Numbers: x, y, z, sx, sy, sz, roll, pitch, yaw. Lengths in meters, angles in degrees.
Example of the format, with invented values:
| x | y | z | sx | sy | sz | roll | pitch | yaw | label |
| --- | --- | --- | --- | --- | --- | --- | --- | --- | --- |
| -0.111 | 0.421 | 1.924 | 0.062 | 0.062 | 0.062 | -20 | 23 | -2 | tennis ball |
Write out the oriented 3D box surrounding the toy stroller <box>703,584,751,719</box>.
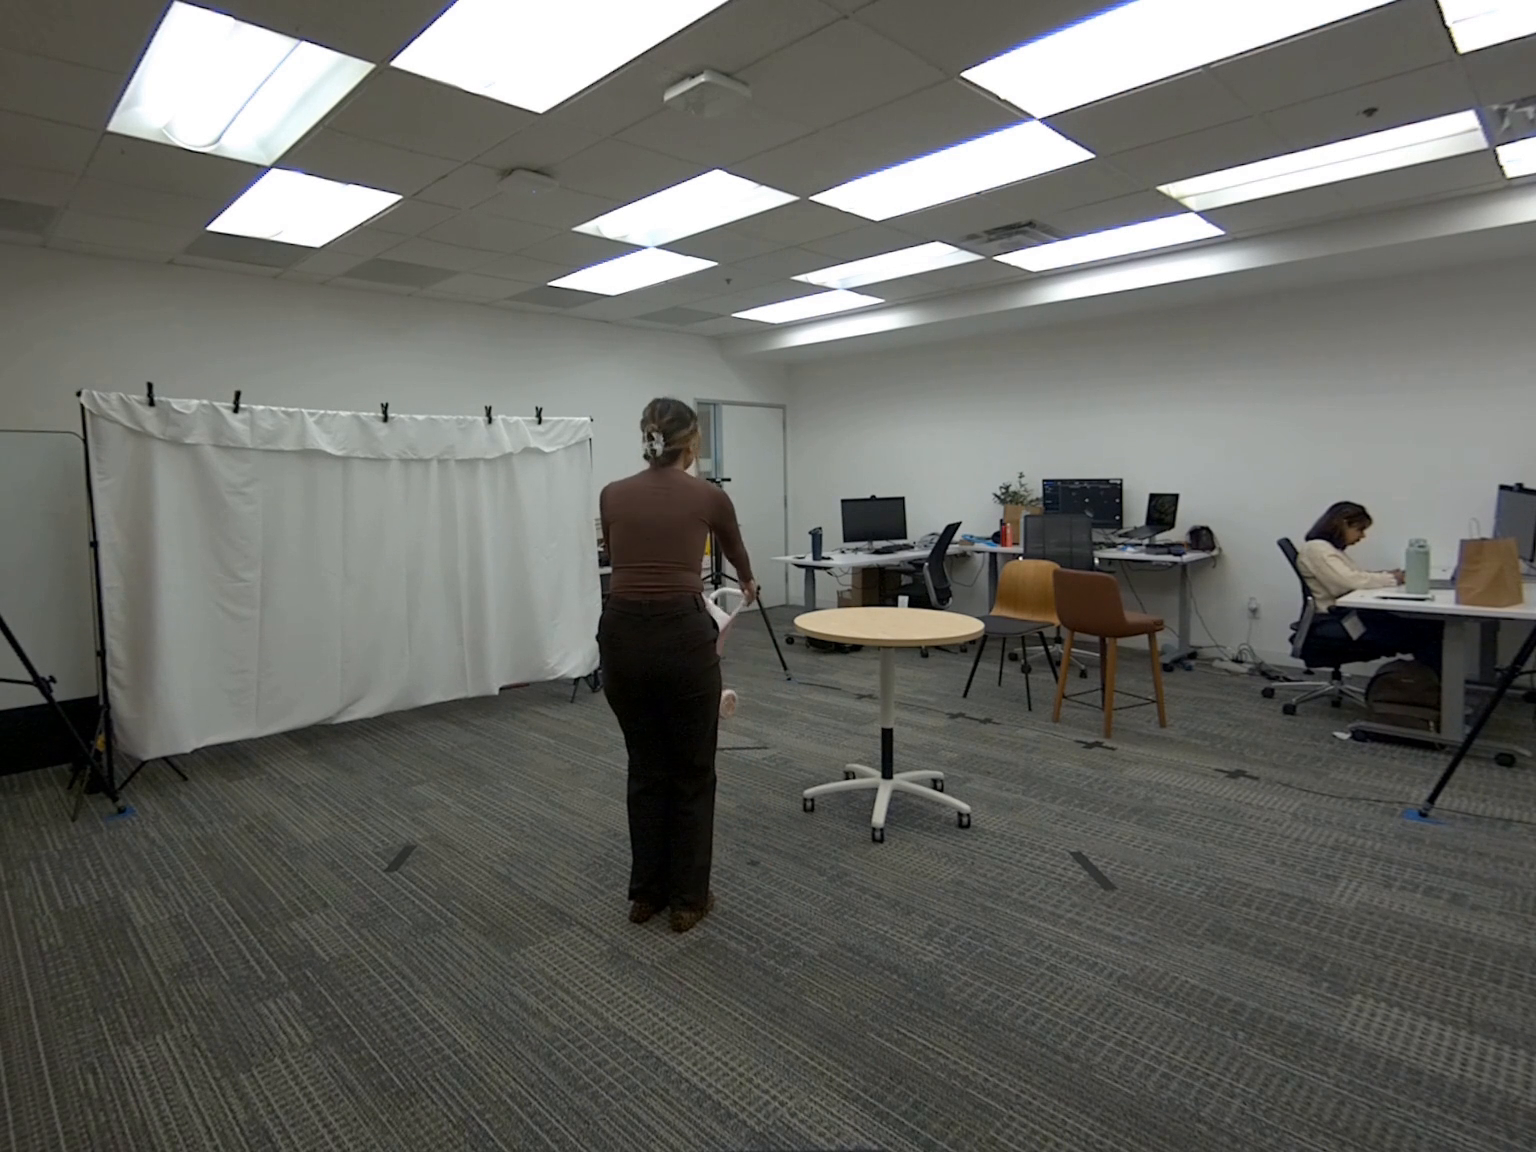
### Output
| x | y | z | sx | sy | sz | roll | pitch | yaw | label |
| --- | --- | --- | --- | --- | --- | --- | --- | --- | --- |
| -0.280 | 0.289 | 3.206 | 0.330 | 0.536 | 0.290 | 14 | -2 | -39 | toy stroller |
